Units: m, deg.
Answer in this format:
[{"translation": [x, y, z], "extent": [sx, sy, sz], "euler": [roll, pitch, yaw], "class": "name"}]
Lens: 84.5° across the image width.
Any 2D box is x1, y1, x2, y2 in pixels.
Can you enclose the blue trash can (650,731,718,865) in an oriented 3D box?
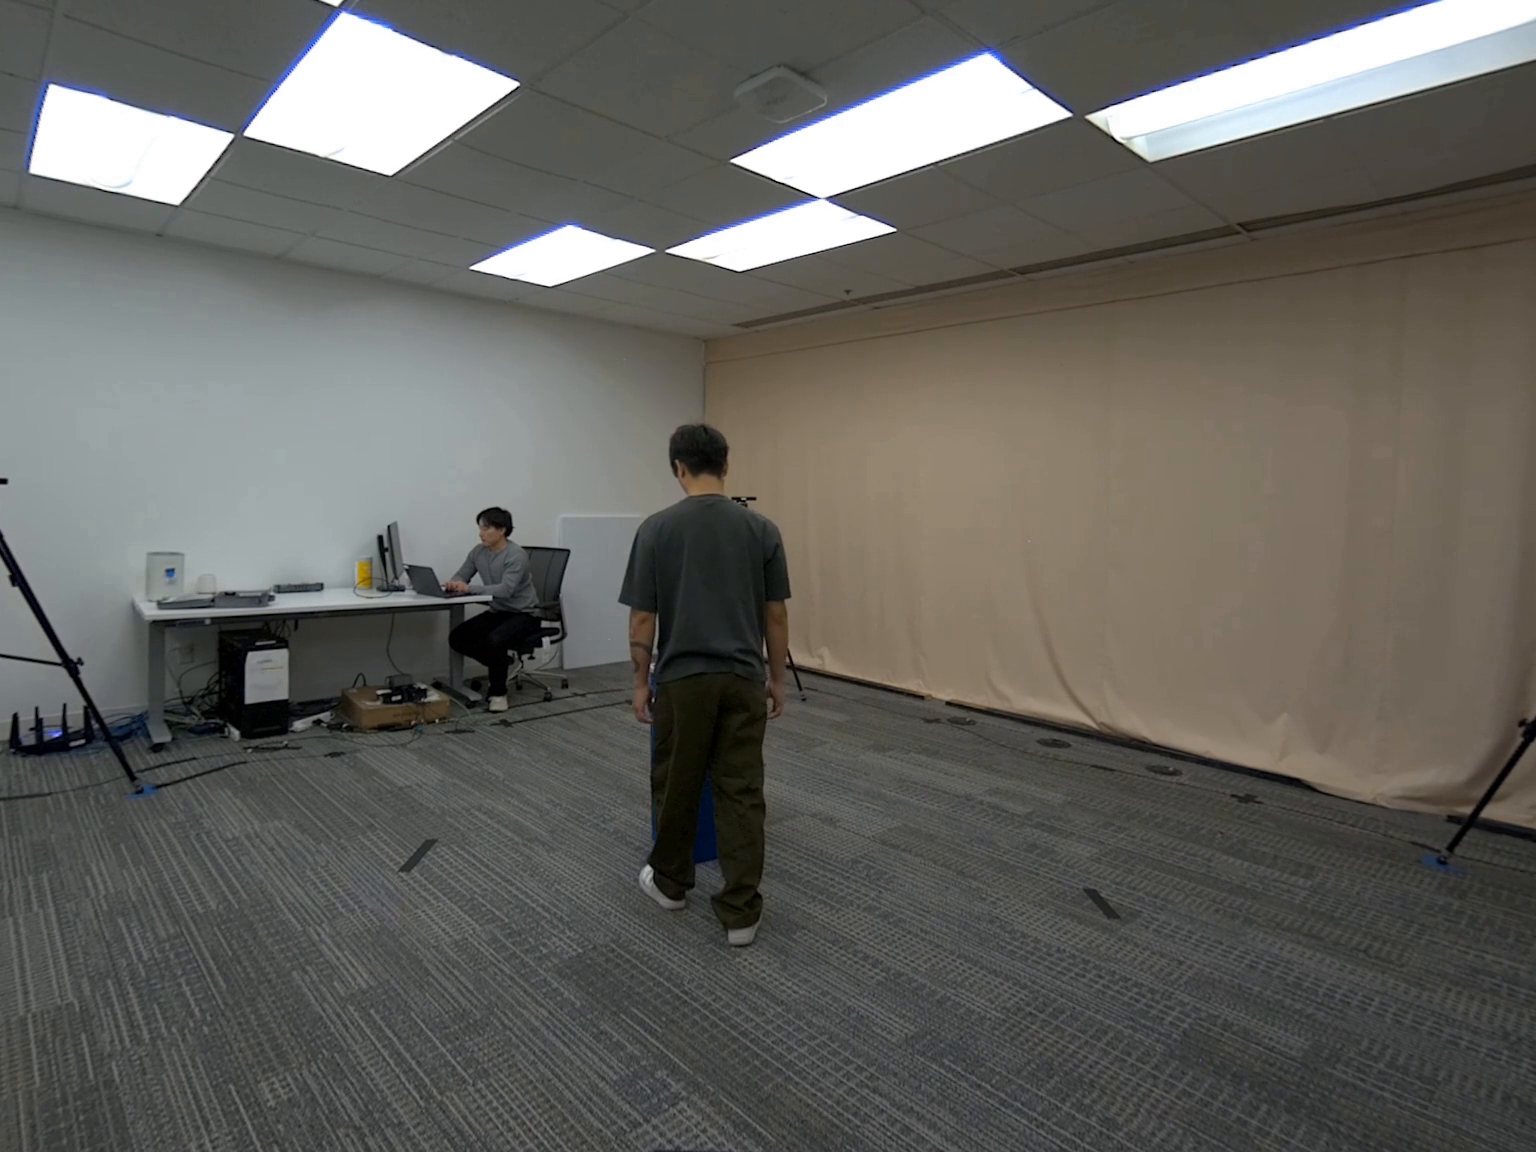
[{"translation": [-0.260, 0.725, 3.366], "extent": [0.366, 0.711, 0.387], "euler": [-2, 5, -34], "class": "blue trash can"}]
